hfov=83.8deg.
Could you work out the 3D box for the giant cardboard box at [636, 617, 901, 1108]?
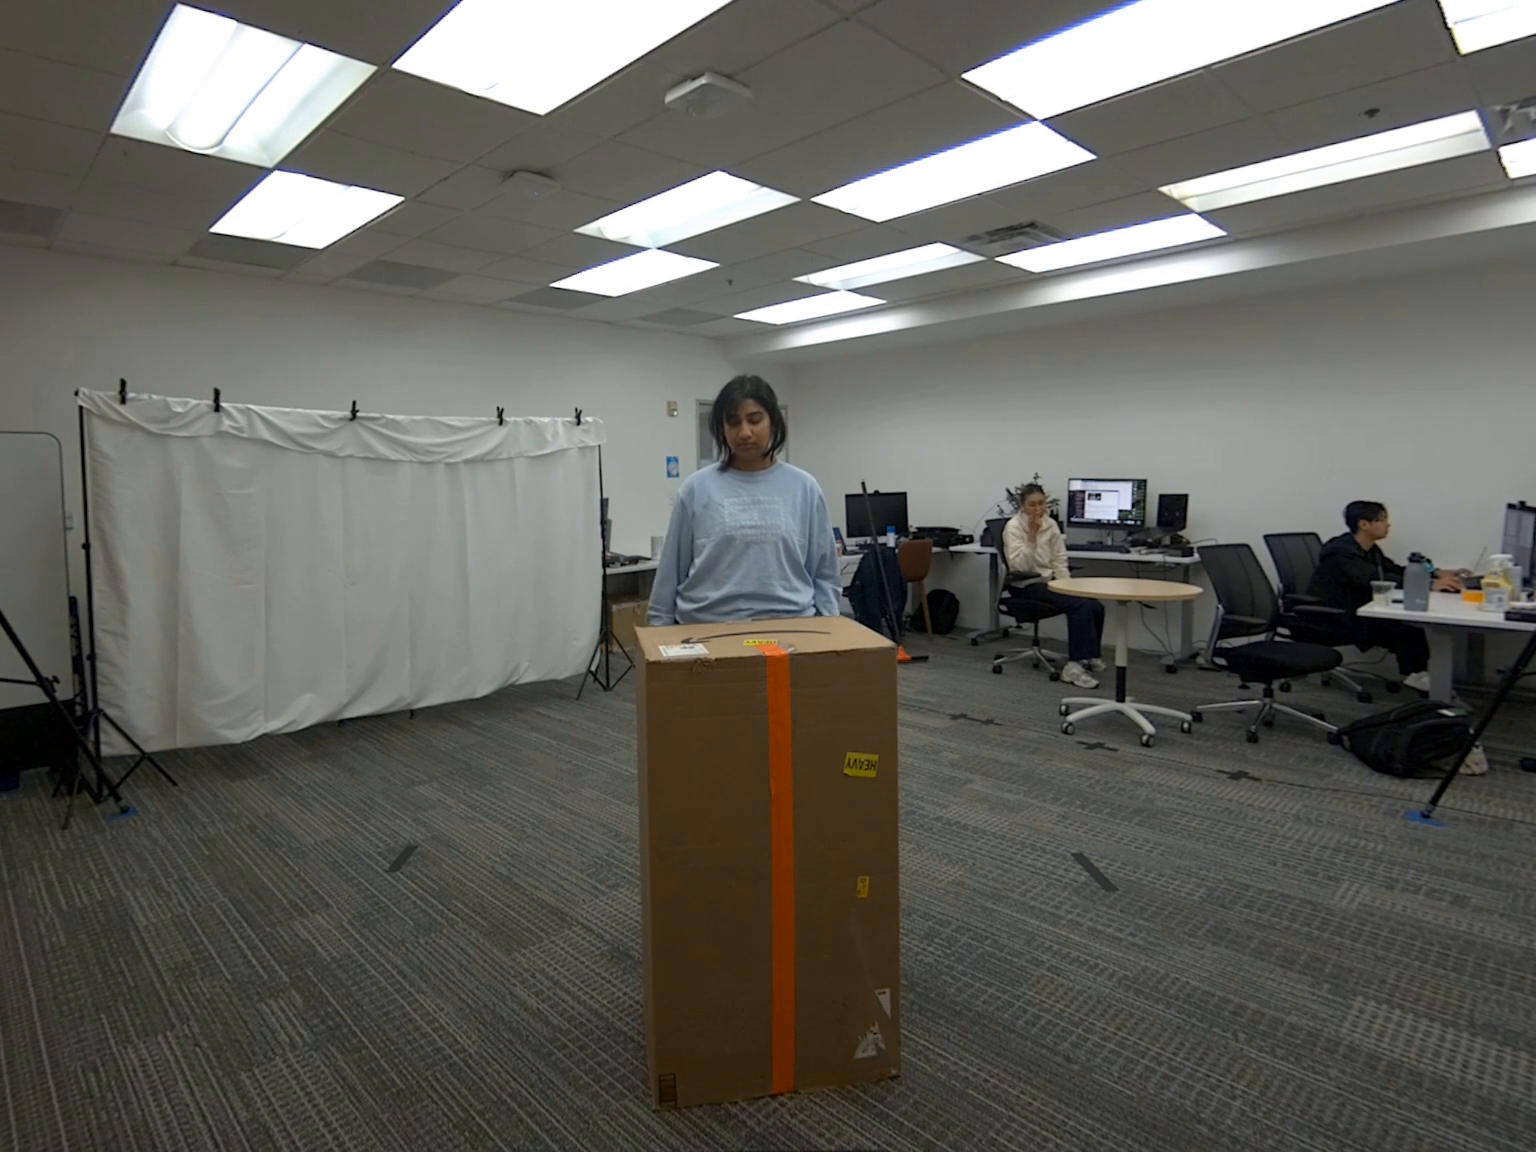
[{"bbox_3d":[-0.021,0.651,2.117,0.572,1.023,0.432,-2,4,-11],"label":"giant cardboard box"}]
